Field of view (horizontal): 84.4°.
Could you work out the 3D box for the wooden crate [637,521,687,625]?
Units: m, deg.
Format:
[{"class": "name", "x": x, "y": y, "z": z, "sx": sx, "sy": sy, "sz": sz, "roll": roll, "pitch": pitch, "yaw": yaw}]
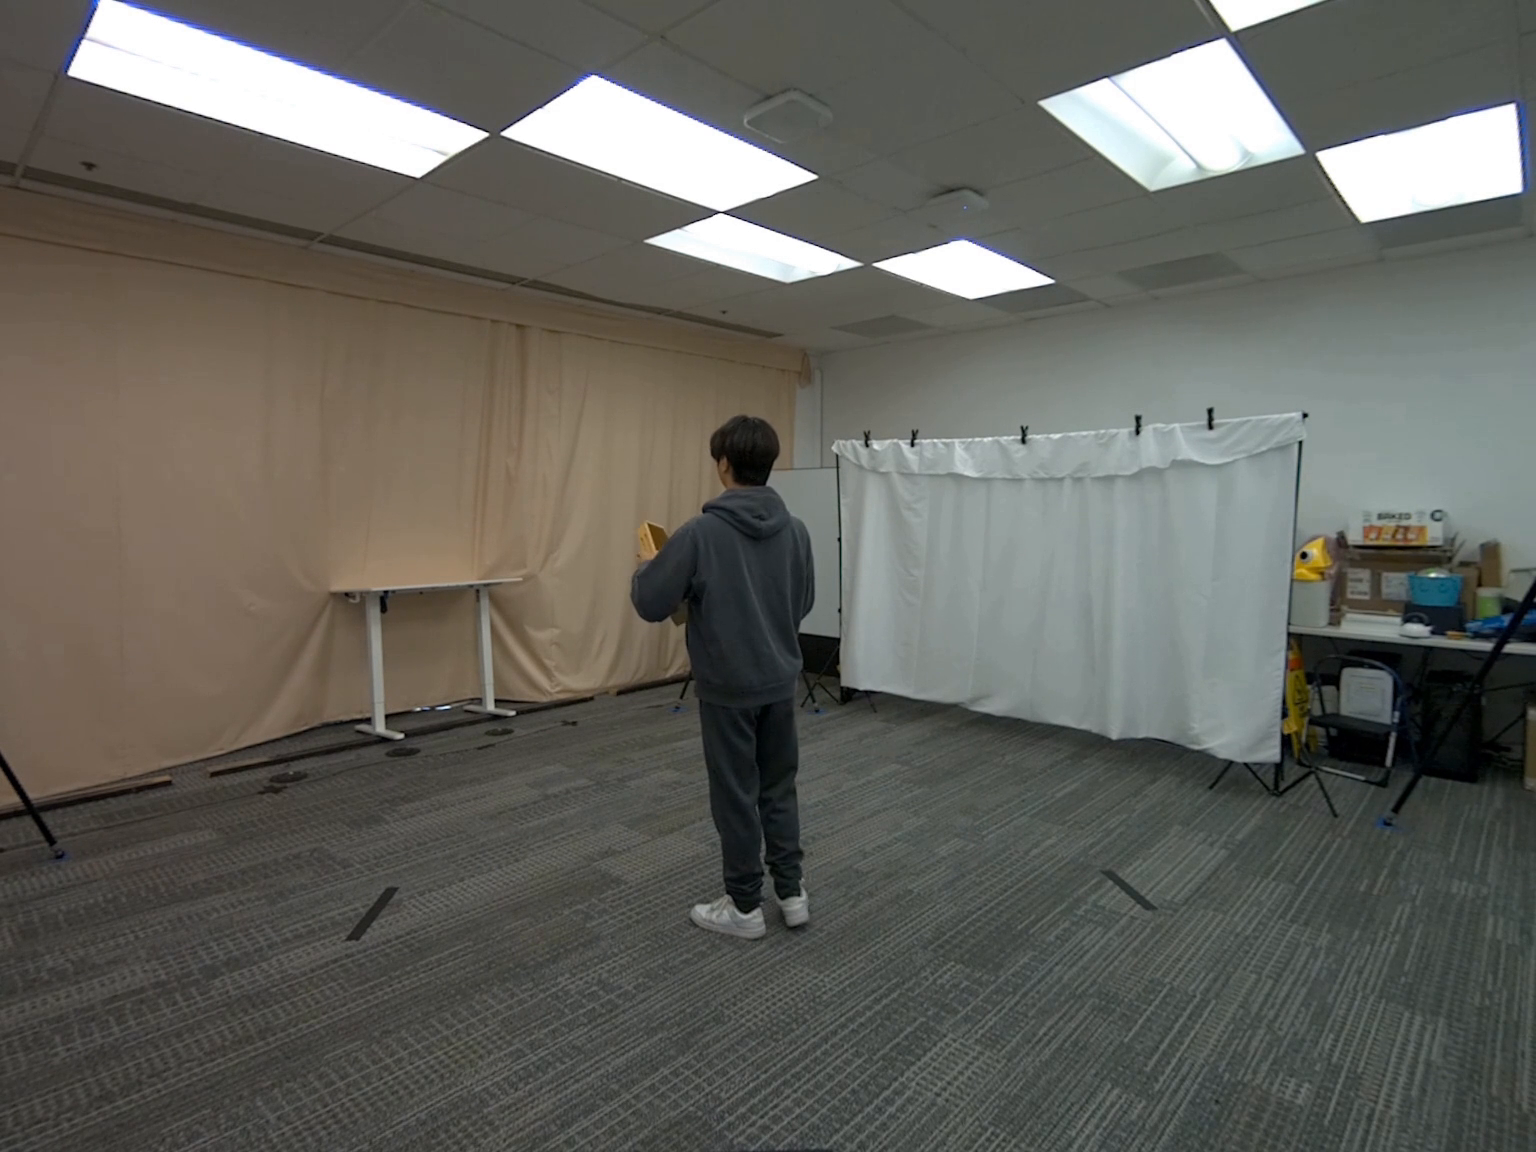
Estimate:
[{"class": "wooden crate", "x": -0.264, "y": -0.039, "z": 2.983, "sx": 0.273, "sy": 0.293, "sz": 0.334, "roll": -23, "pitch": 47, "yaw": 0}]
